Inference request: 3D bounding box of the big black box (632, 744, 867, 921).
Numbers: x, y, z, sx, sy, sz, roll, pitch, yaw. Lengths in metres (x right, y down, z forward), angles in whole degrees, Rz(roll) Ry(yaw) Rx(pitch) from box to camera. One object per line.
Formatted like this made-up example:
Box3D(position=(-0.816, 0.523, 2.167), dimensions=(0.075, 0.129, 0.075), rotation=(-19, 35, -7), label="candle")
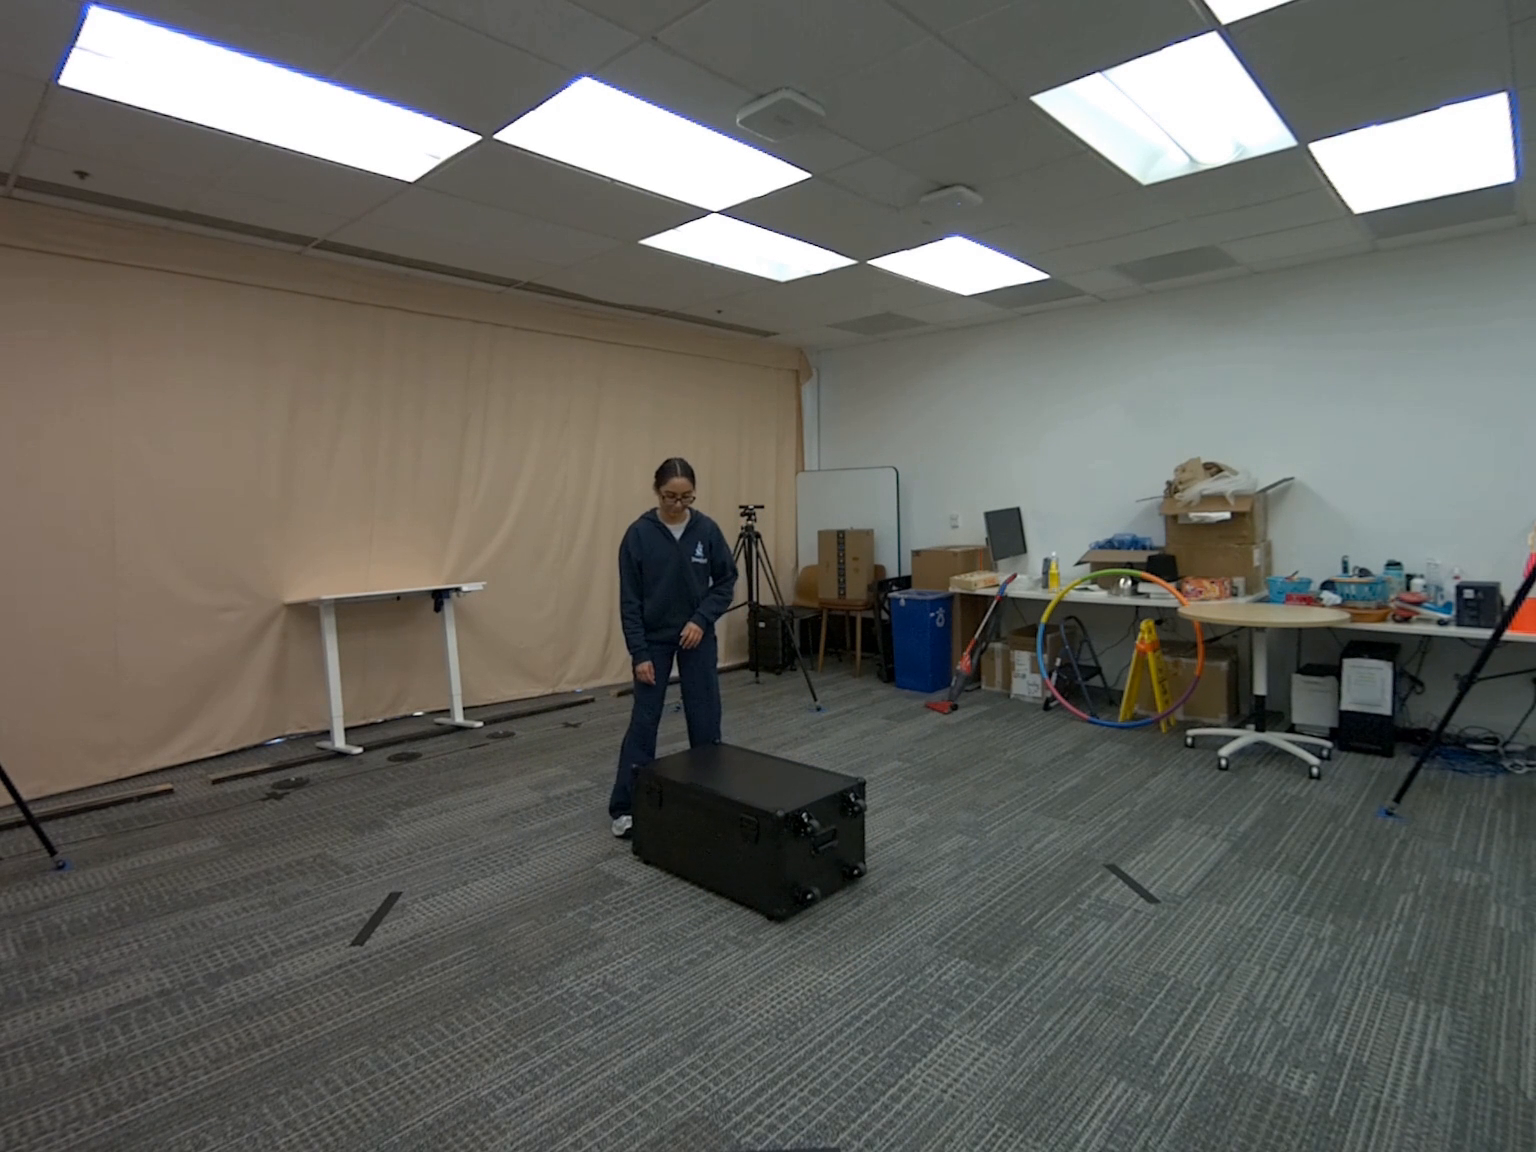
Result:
Box3D(position=(-0.065, 0.936, 3.186), dimensions=(0.890, 0.395, 0.505), rotation=(2, 5, 43), label="big black box")
